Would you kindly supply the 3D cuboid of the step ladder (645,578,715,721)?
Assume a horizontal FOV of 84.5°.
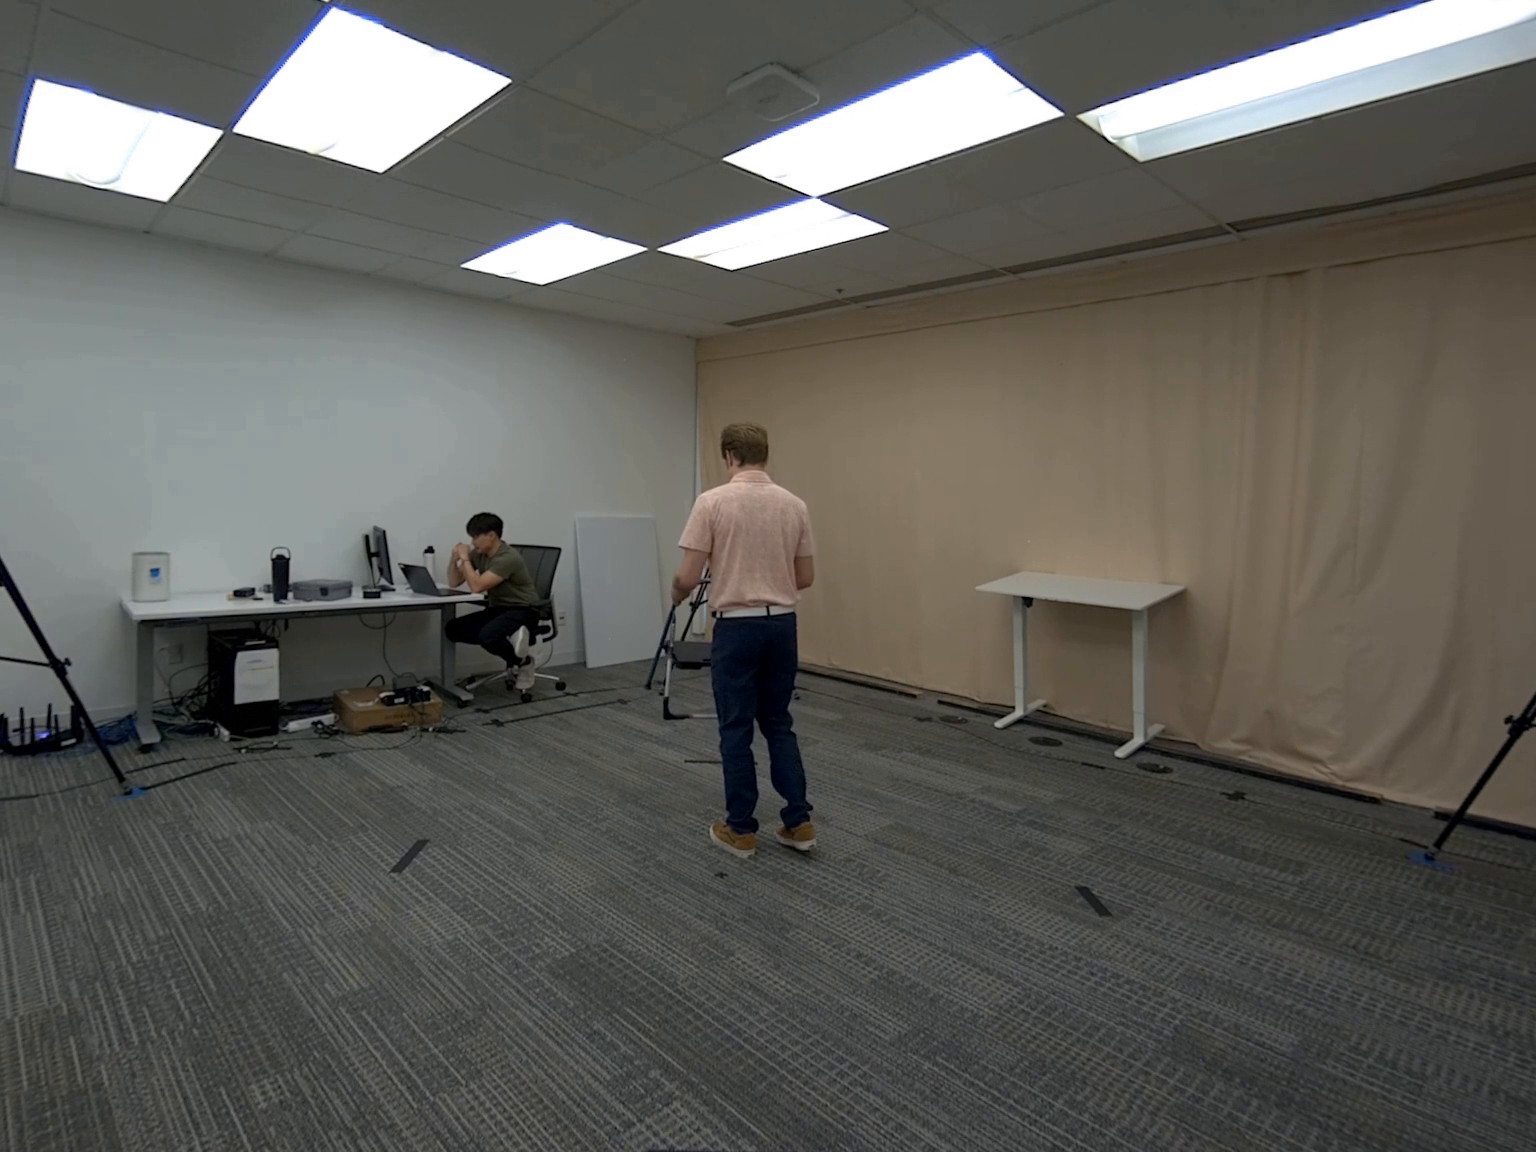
[{"bbox_3d":[-0.259,0.286,3.675,0.423,0.601,0.358,4,15,-23],"label":"step ladder"}]
